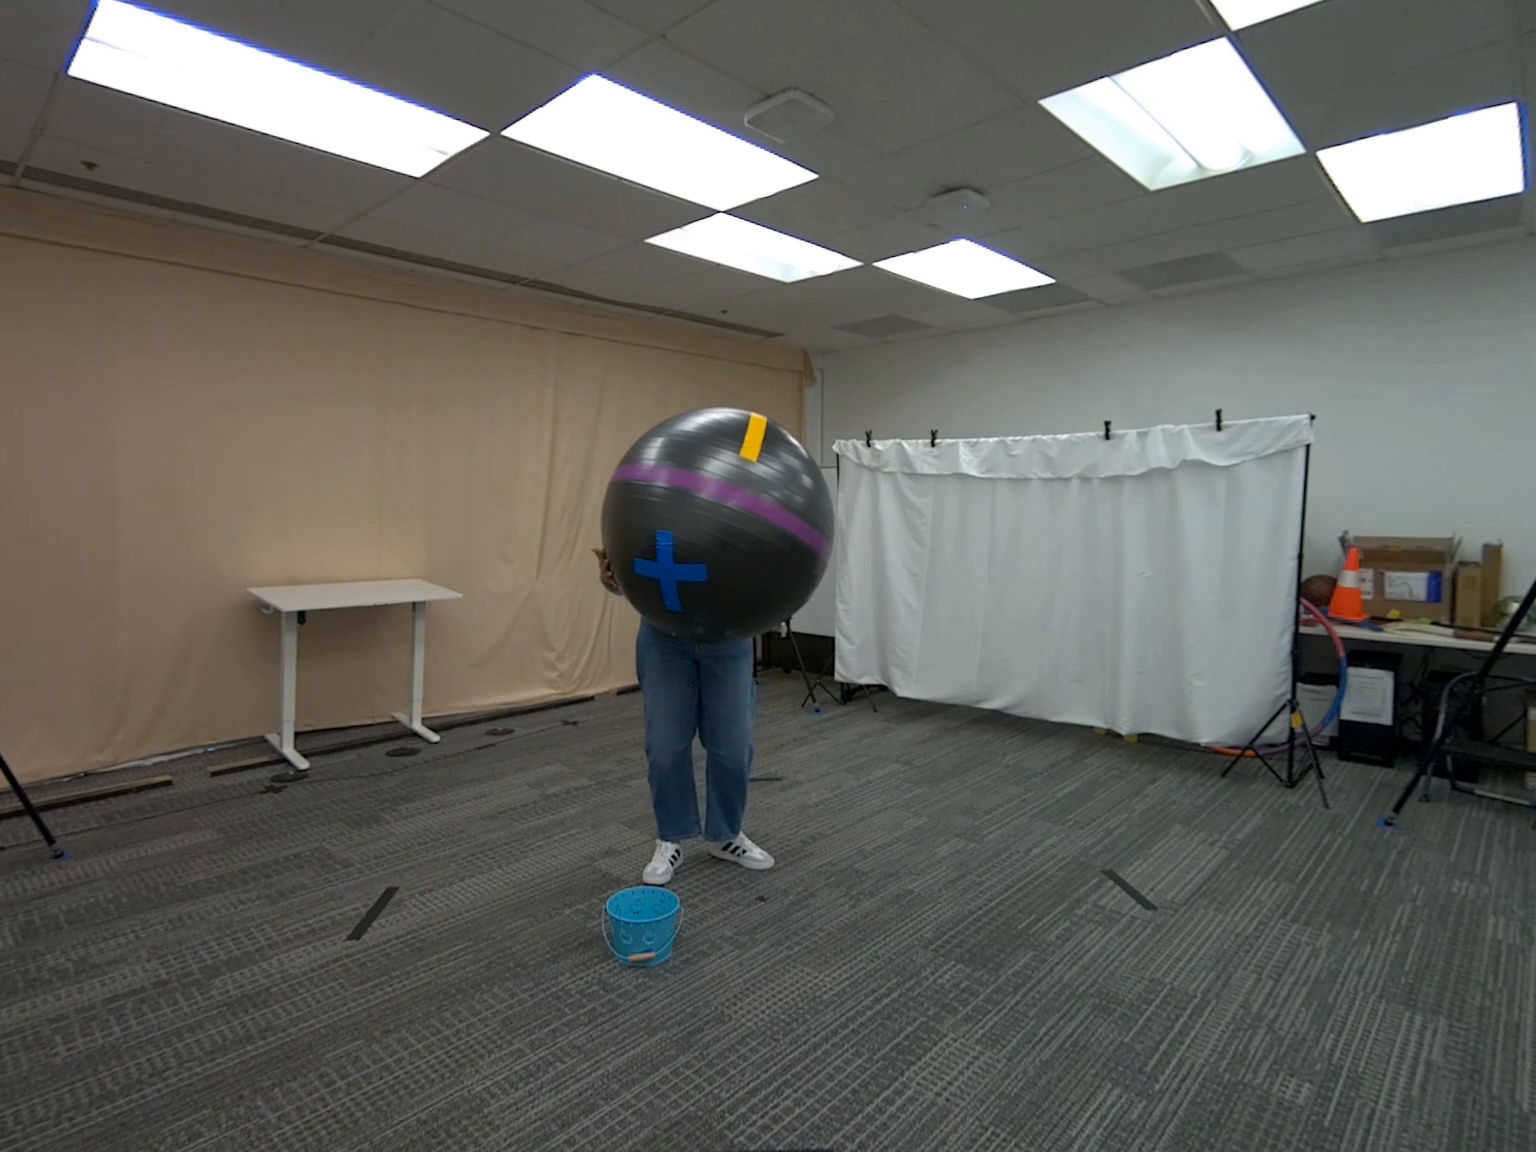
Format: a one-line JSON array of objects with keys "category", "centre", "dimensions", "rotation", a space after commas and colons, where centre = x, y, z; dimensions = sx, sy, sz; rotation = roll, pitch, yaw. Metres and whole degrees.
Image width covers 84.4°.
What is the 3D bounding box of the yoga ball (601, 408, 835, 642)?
[{"category": "yoga ball", "centre": [-0.166, -0.160, 2.729], "dimensions": [0.757, 0.756, 0.761], "rotation": [0, 4, -2]}]
